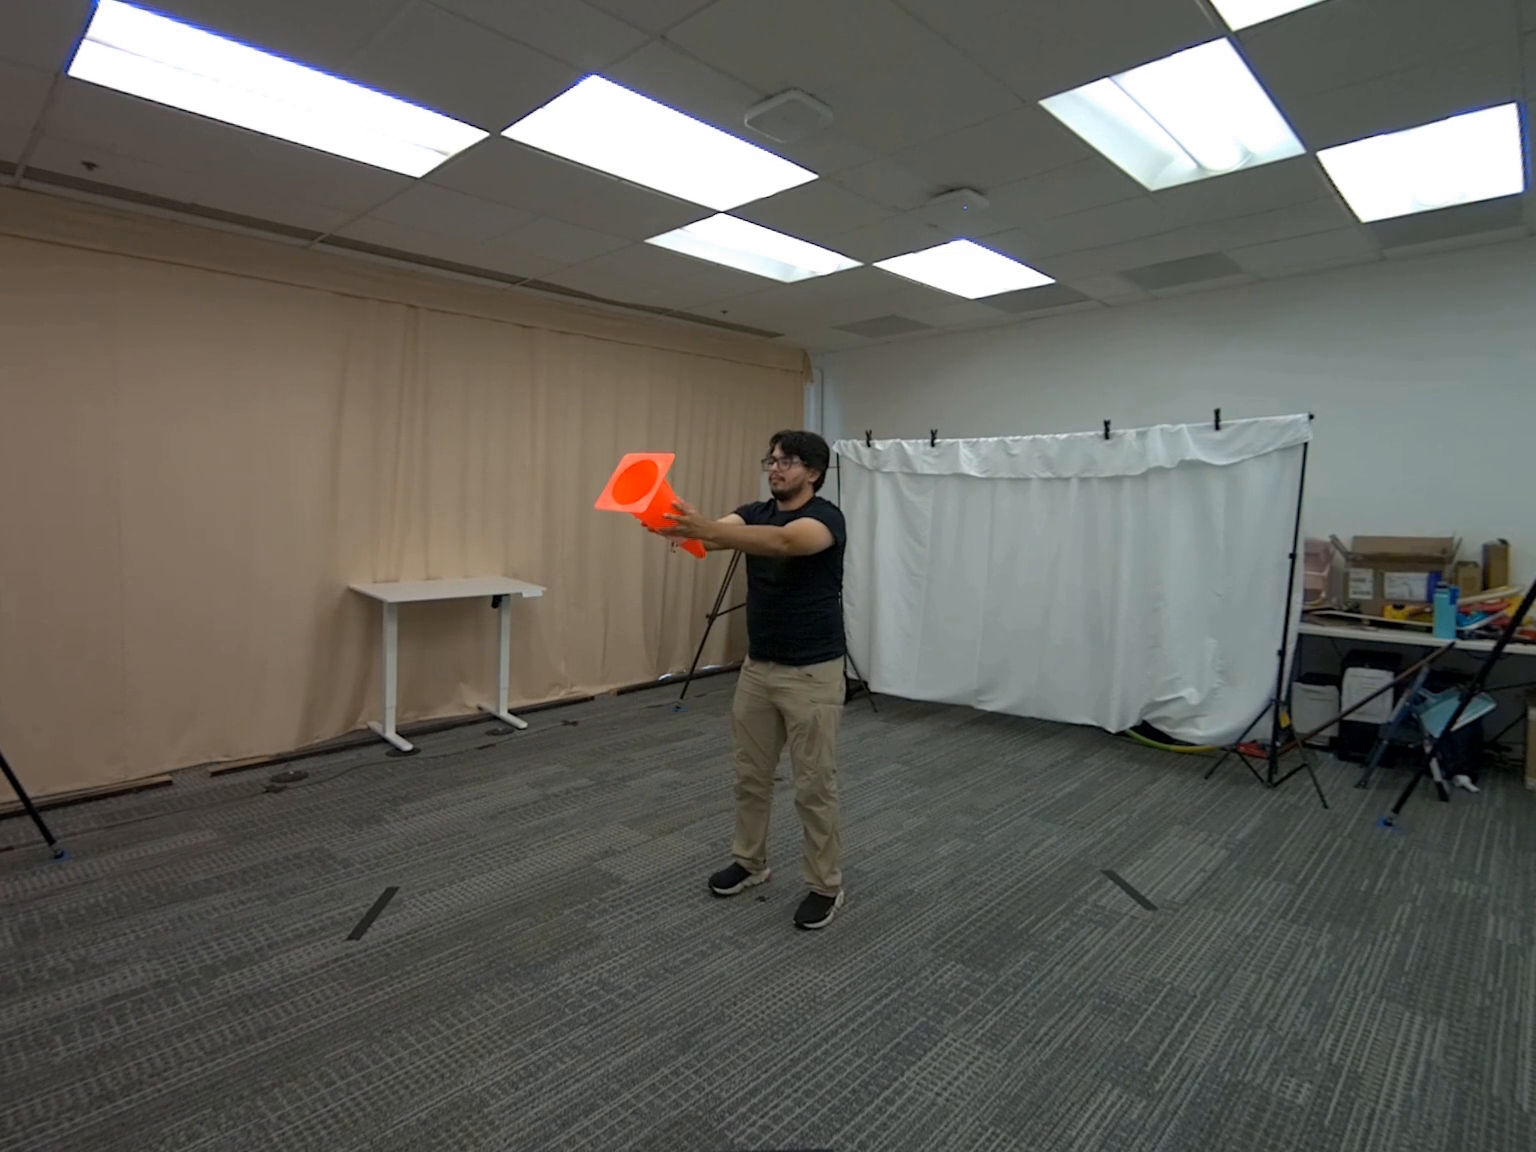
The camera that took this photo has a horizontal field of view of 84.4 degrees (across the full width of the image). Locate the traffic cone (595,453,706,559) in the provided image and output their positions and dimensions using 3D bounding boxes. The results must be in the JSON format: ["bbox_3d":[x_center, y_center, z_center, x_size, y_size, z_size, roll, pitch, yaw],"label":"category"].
[{"bbox_3d":[-0.284,-0.158,2.452,0.212,0.204,0.370,6,-29,37],"label":"traffic cone"}]
